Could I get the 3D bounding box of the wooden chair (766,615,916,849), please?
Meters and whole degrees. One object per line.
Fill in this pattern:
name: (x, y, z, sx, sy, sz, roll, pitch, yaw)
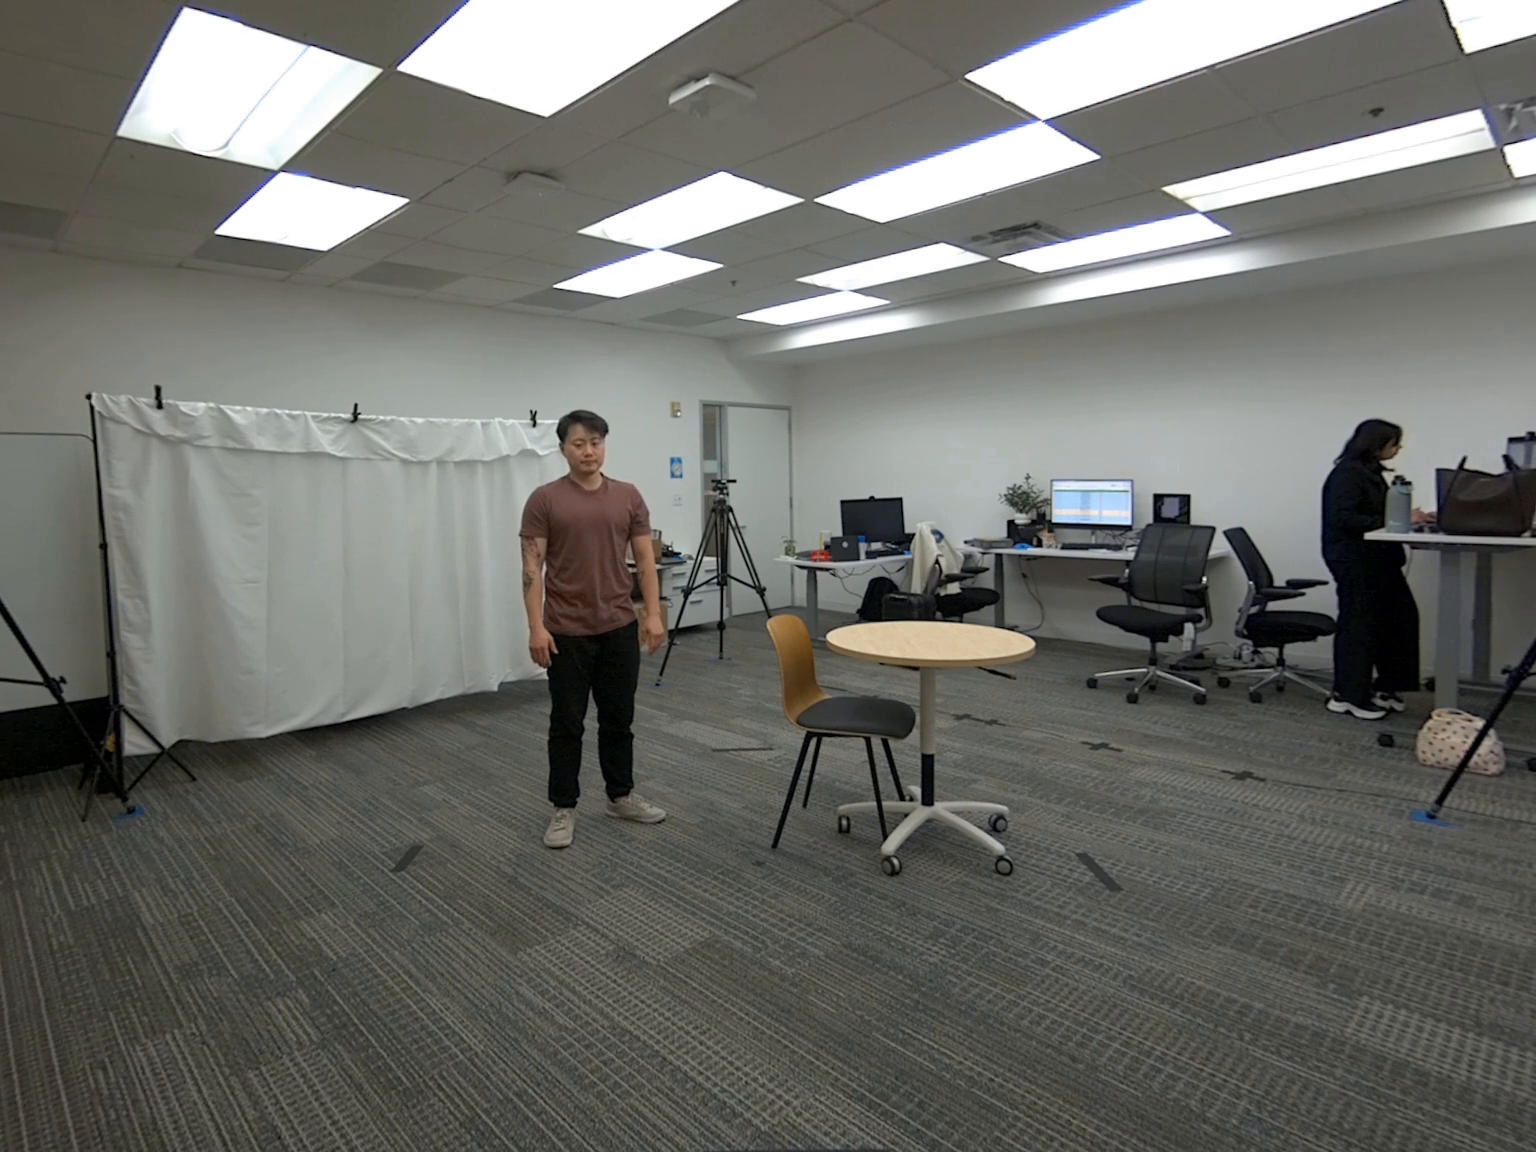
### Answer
wooden chair: (0.293, 0.582, 3.321, 0.533, 0.876, 0.470, -4, 2, 21)
